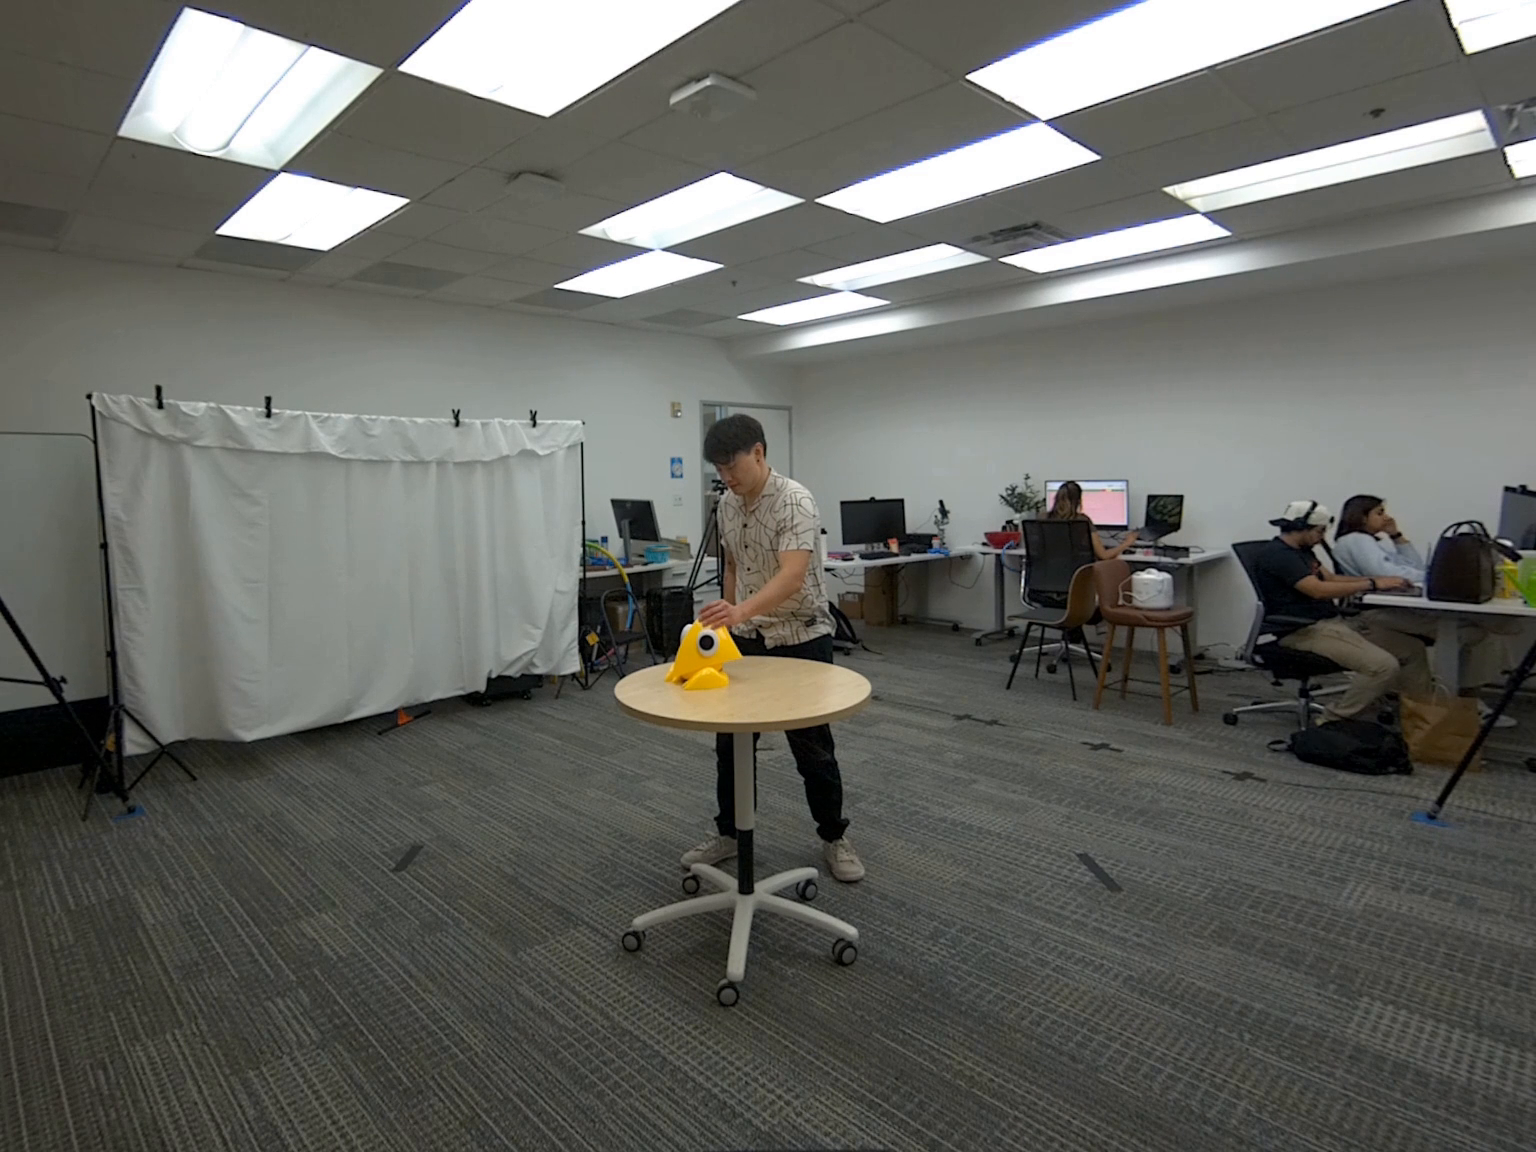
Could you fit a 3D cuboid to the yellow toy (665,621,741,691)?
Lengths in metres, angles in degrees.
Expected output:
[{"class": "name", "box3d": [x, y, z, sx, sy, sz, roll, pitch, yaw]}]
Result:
[{"class": "yellow toy", "box3d": [-0.211, 0.213, 2.612, 0.188, 0.230, 0.211, -5, 6, -35]}]
